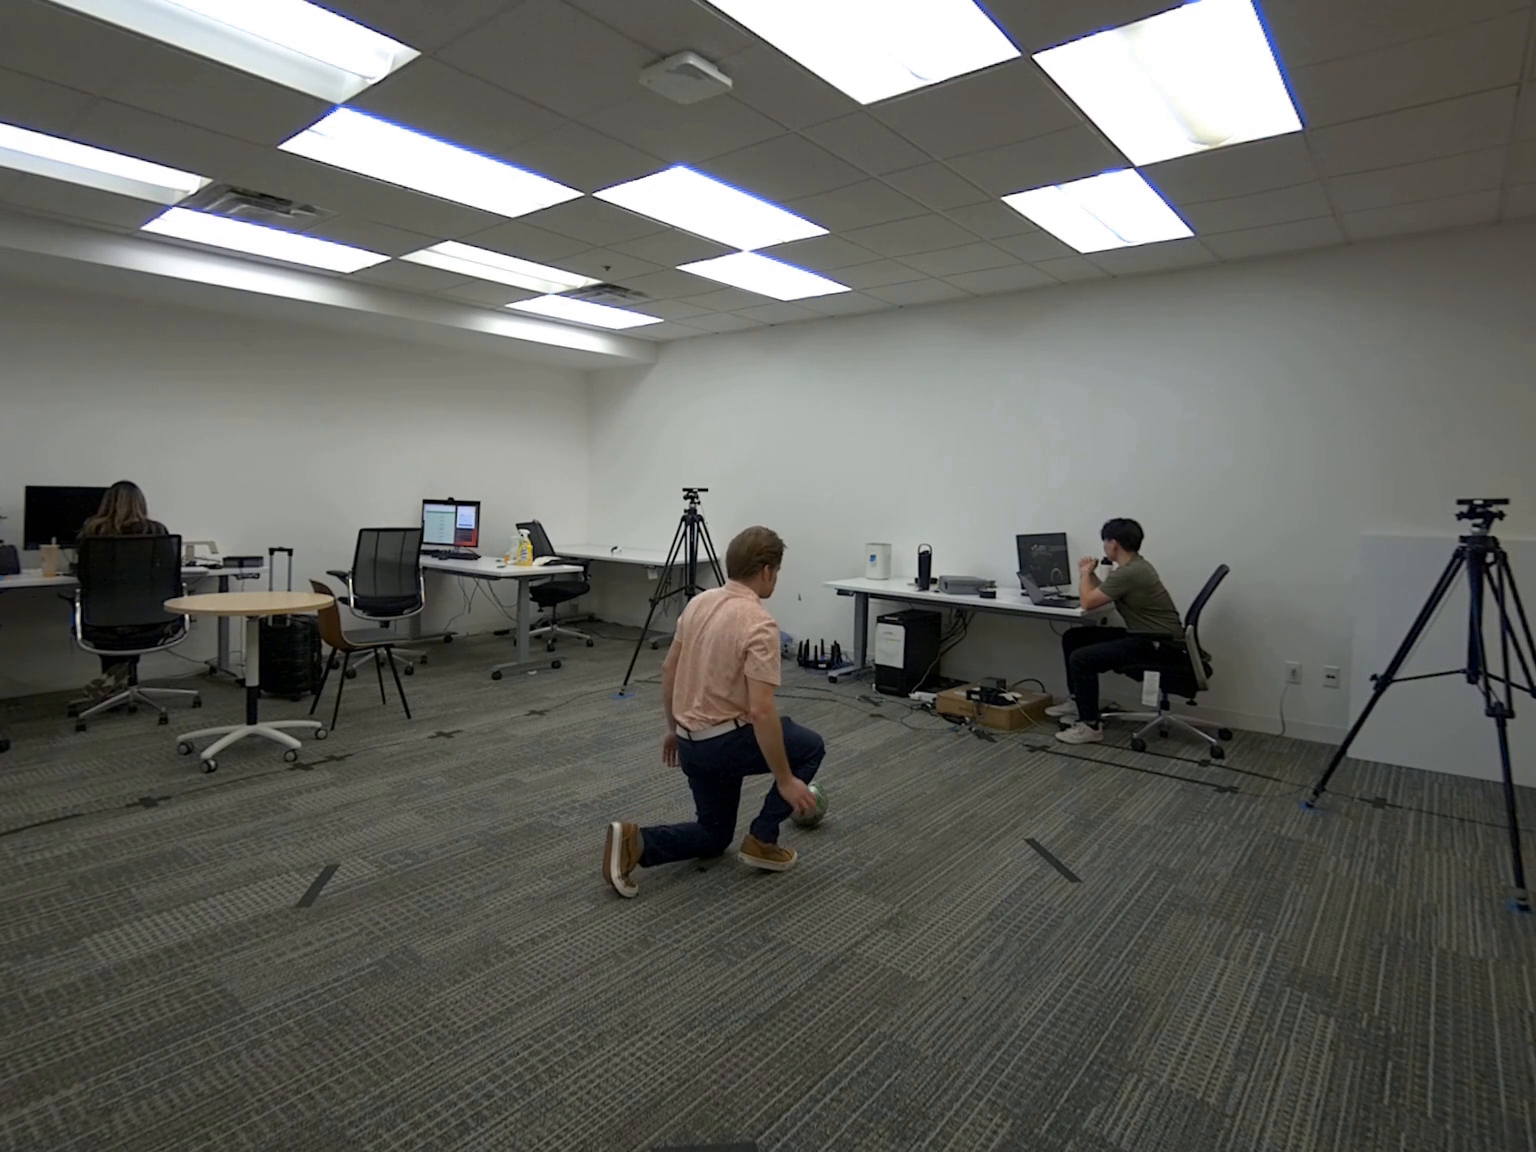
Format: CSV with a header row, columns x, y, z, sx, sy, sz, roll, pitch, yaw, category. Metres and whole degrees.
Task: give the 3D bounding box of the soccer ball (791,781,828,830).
x,y,z,sx,sy,sz,roll,pitch,yaw,category
0.151,0.949,3.555,0.187,0.187,0.188,1,4,-2,soccer ball
